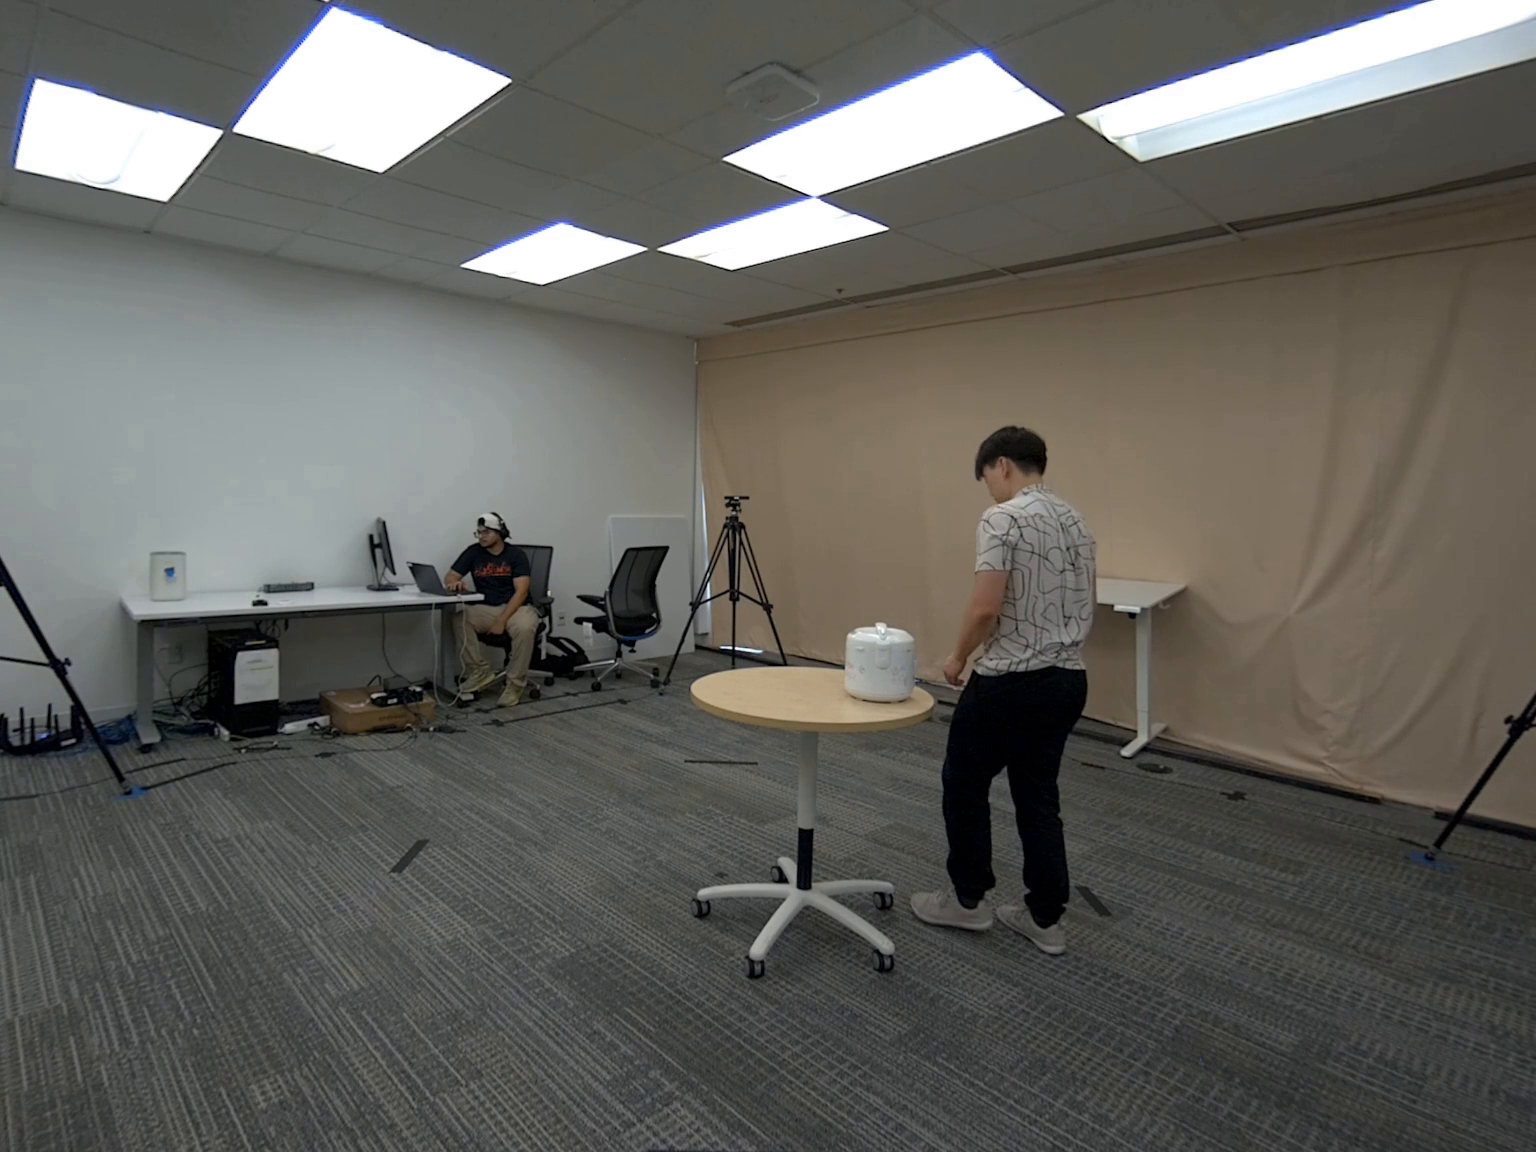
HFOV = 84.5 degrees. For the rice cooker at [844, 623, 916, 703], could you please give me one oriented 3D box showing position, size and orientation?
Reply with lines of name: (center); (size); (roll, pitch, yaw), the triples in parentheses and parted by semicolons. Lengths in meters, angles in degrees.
rice cooker: (0.349, 0.262, 2.625); (0.218, 0.232, 0.220); (1, 4, 5)
